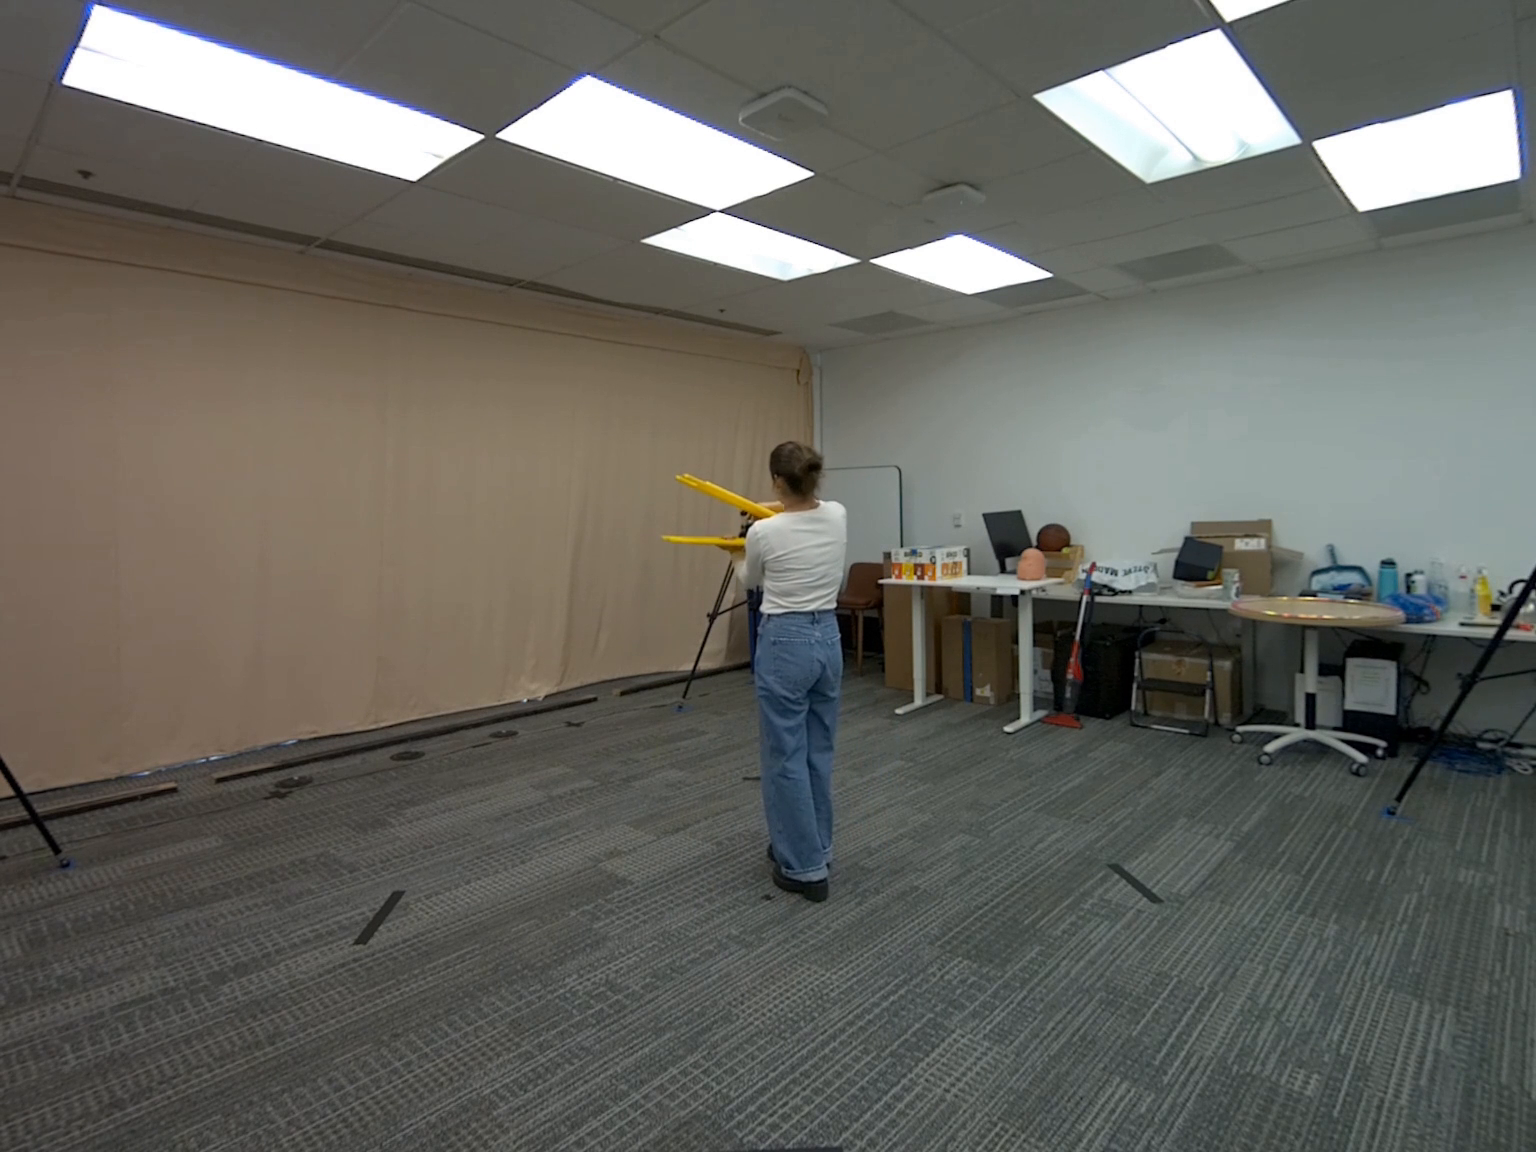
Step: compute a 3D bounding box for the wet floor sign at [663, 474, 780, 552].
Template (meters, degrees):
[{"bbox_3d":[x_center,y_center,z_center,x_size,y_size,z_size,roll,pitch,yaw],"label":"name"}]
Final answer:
[{"bbox_3d":[-0.065,-0.202,3.352,0.637,0.289,0.286,11,1,-12],"label":"wet floor sign"}]
